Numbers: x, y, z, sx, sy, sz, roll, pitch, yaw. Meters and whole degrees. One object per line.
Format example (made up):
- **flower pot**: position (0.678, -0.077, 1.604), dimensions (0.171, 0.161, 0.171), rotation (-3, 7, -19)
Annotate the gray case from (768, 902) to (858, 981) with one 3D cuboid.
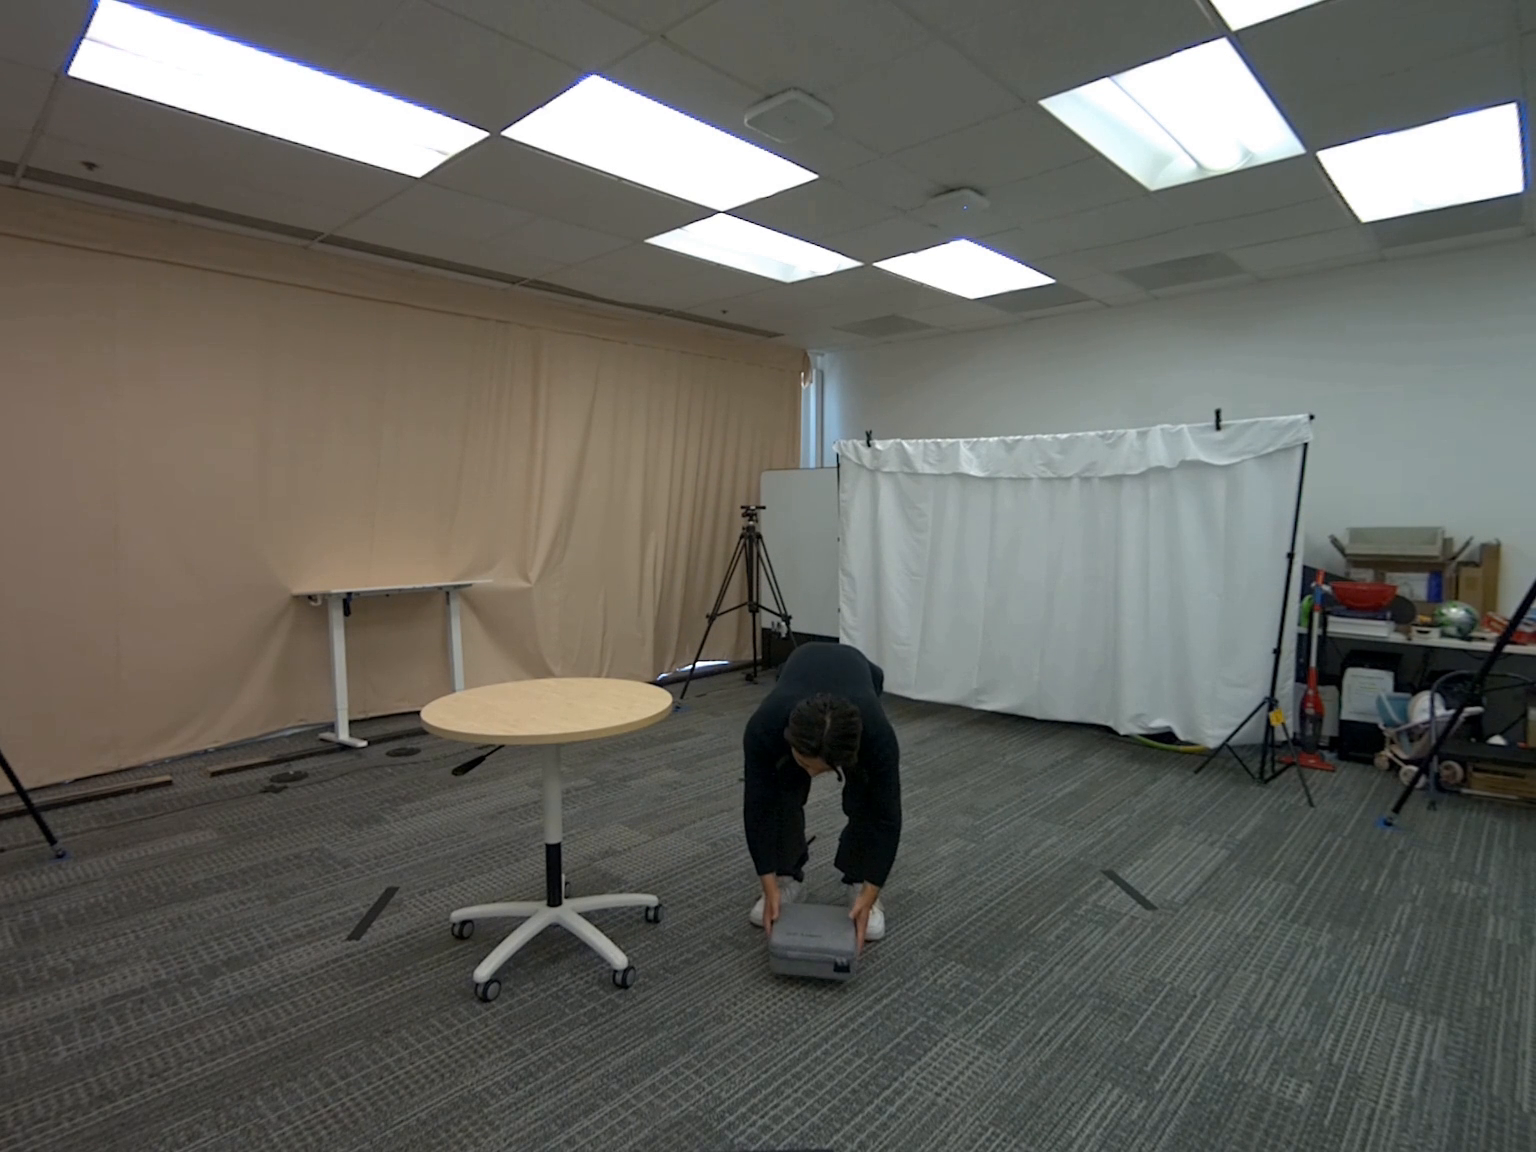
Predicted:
- **gray case**: position (0.140, 1.070, 2.524), dimensions (0.259, 0.104, 0.259), rotation (0, 9, 8)
